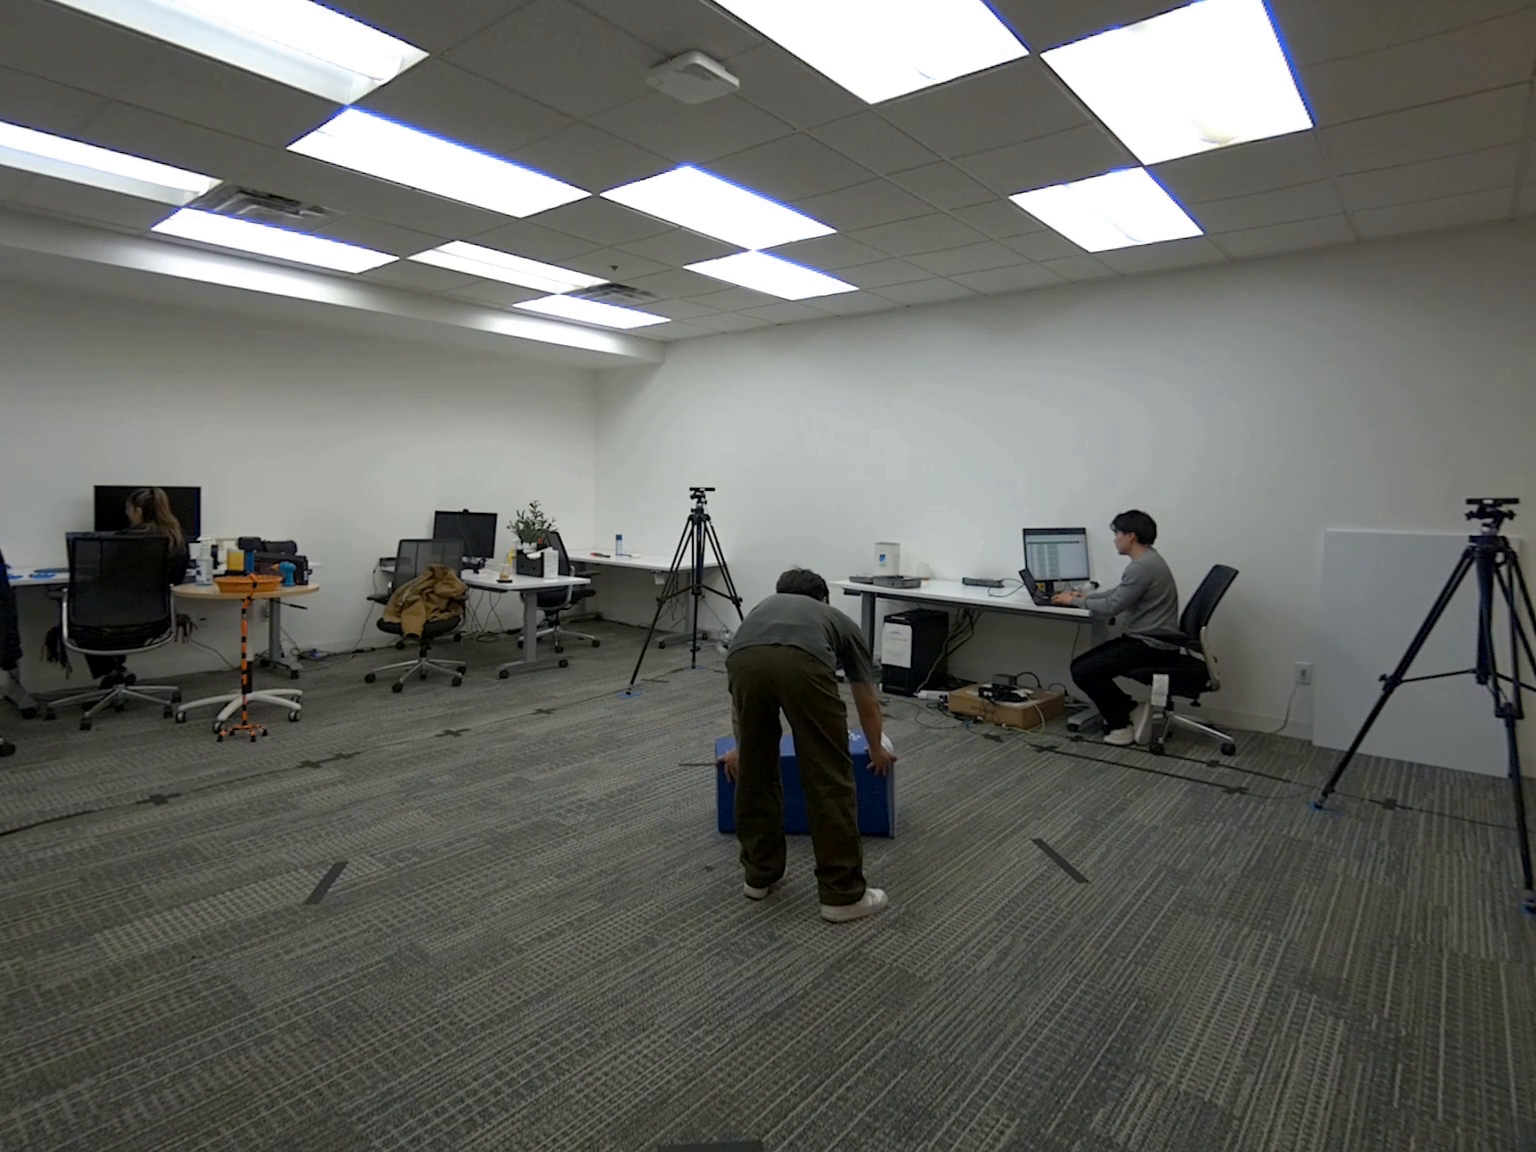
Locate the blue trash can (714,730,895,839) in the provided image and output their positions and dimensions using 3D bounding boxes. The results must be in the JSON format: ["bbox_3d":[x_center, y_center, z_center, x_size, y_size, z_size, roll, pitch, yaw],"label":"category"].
[{"bbox_3d":[0.132,0.851,3.570,0.712,0.372,0.381,-1,5,-3],"label":"blue trash can"}]
